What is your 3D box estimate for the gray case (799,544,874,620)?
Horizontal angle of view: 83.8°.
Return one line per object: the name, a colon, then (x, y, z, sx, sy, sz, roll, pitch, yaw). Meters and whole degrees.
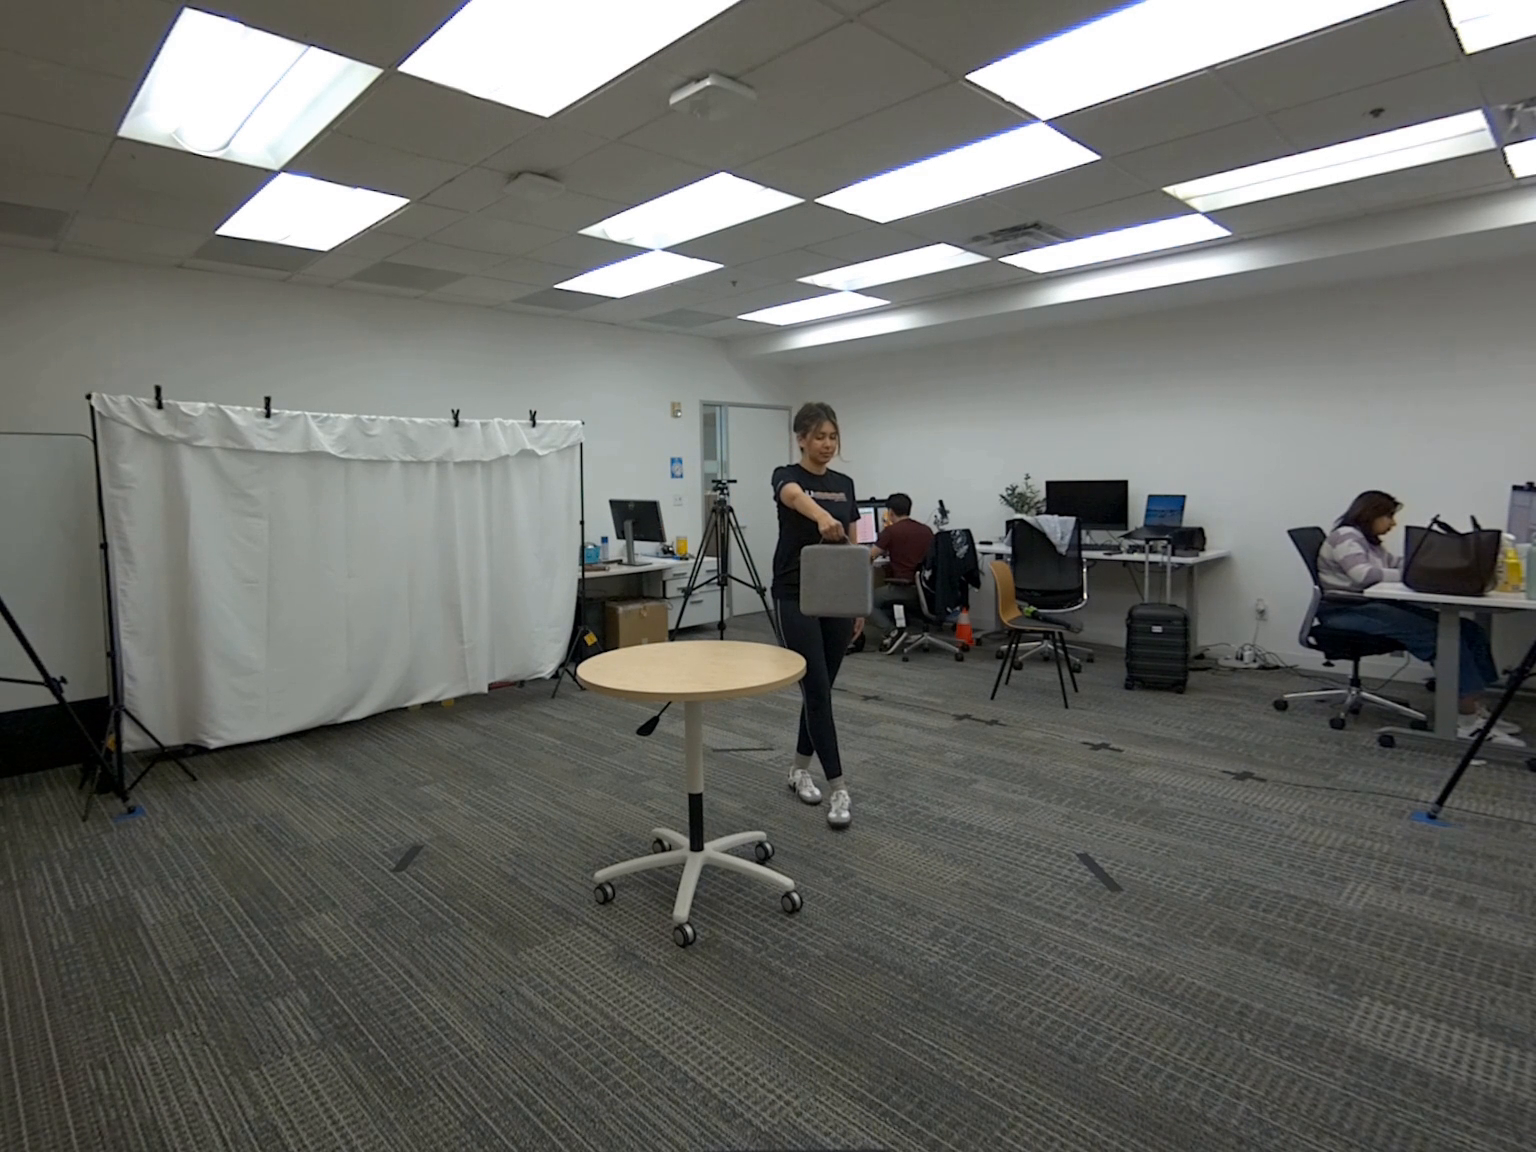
gray case: (0.246, 0.017, 3.044, 0.261, 0.261, 0.102, -2, -3, 19)
